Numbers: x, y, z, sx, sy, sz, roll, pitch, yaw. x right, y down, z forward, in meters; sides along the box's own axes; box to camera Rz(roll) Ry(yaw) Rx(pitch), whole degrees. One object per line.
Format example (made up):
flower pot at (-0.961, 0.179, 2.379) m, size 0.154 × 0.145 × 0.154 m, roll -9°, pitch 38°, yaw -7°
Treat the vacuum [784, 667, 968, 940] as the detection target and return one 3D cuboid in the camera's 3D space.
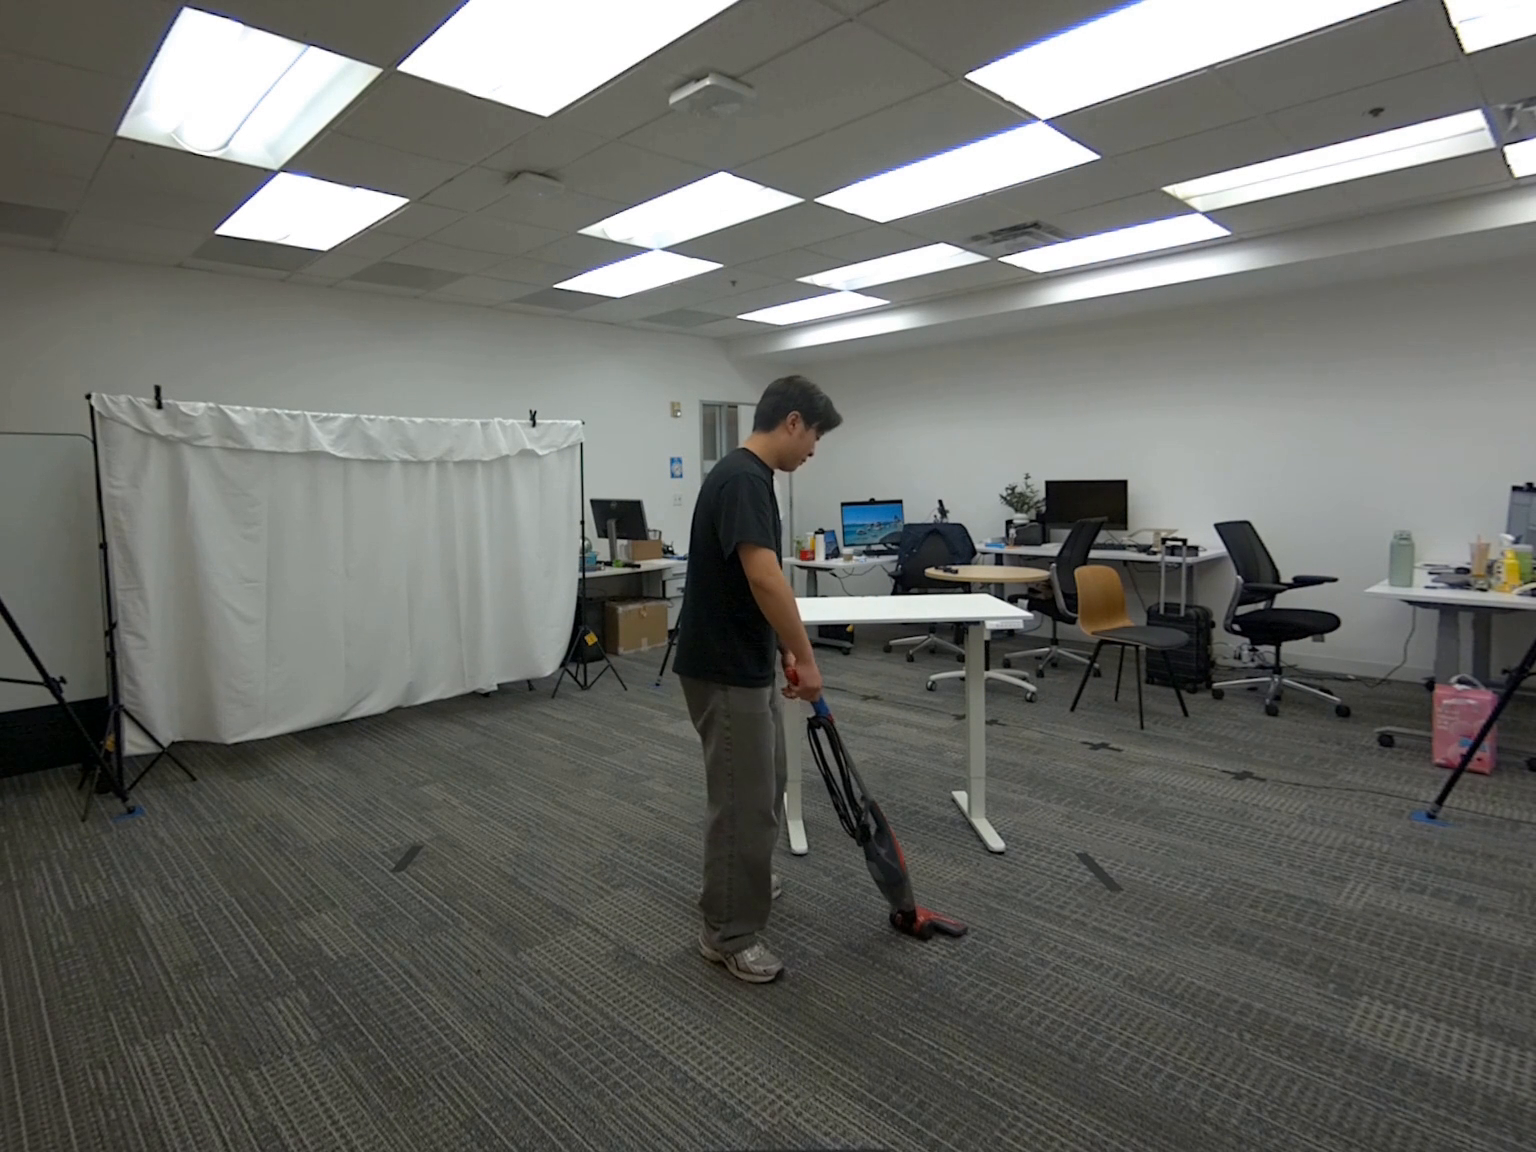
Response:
vacuum at (0.274, 0.666, 2.457) m, size 0.260 × 1.020 × 0.144 m, roll 1°, pitch 37°, yaw 46°
